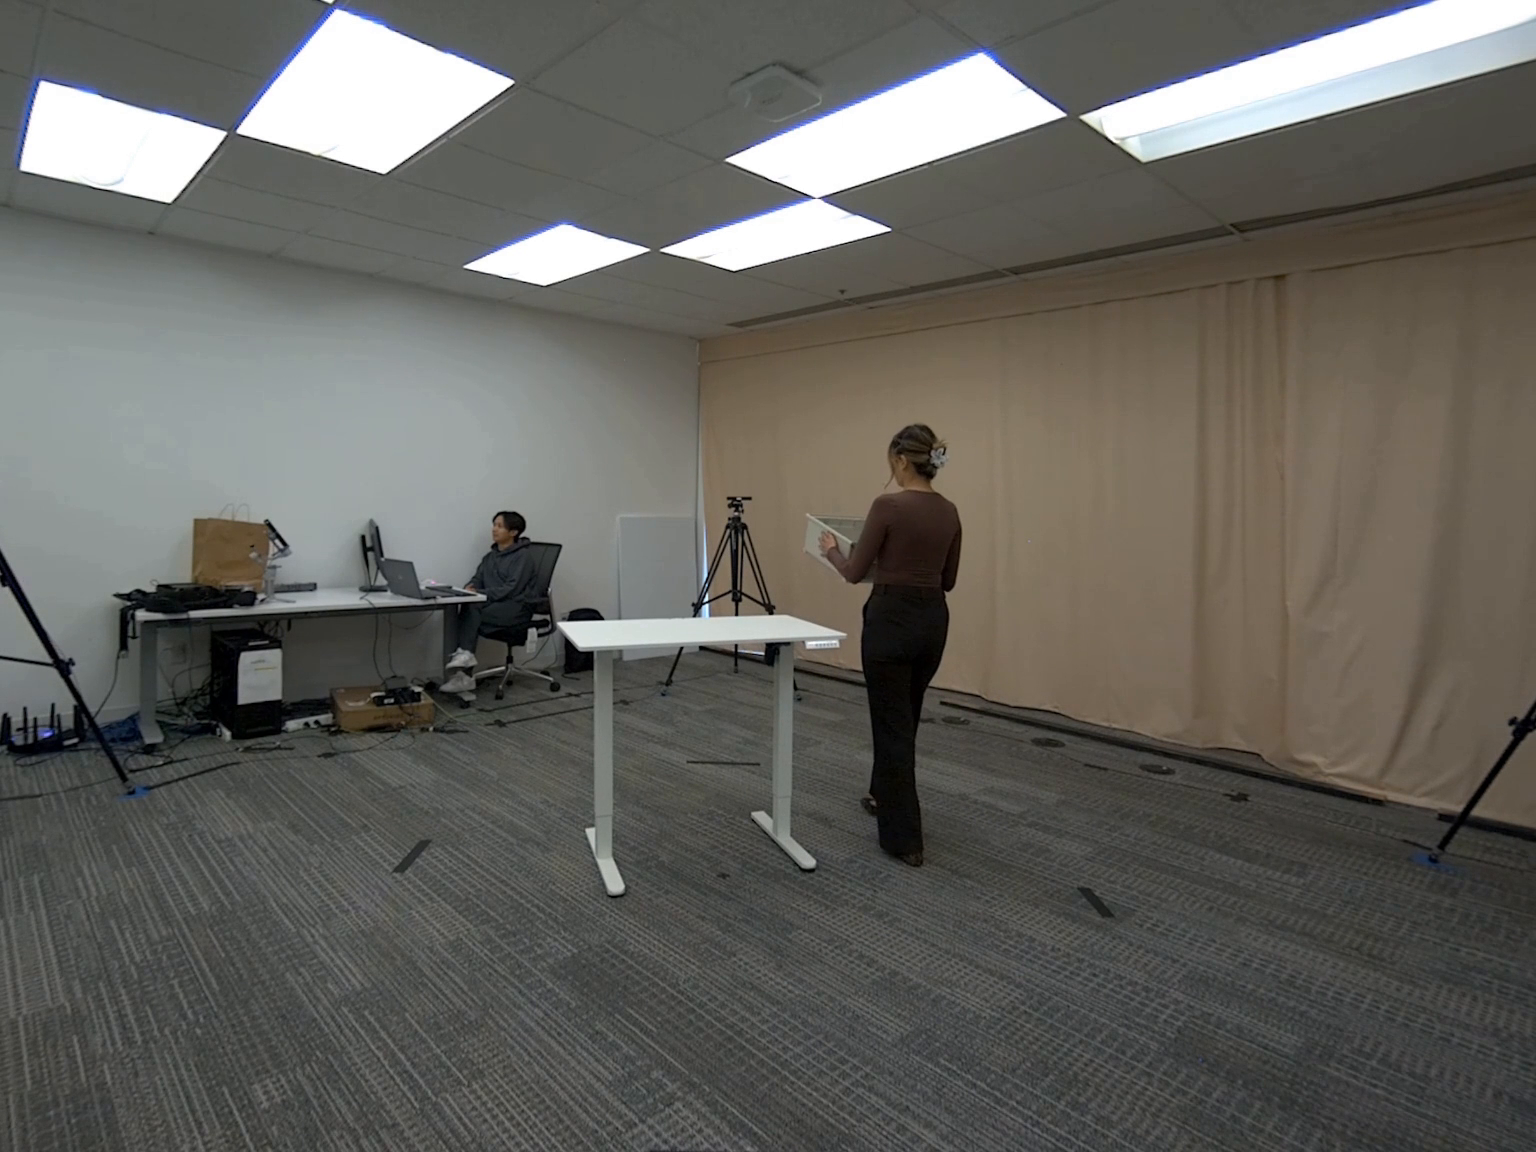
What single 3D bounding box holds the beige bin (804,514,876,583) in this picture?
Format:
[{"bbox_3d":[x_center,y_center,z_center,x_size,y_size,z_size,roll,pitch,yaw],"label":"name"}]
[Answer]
[{"bbox_3d":[0.408,-0.125,3.751,0.371,0.187,0.434,0,20,-24],"label":"beige bin"}]
